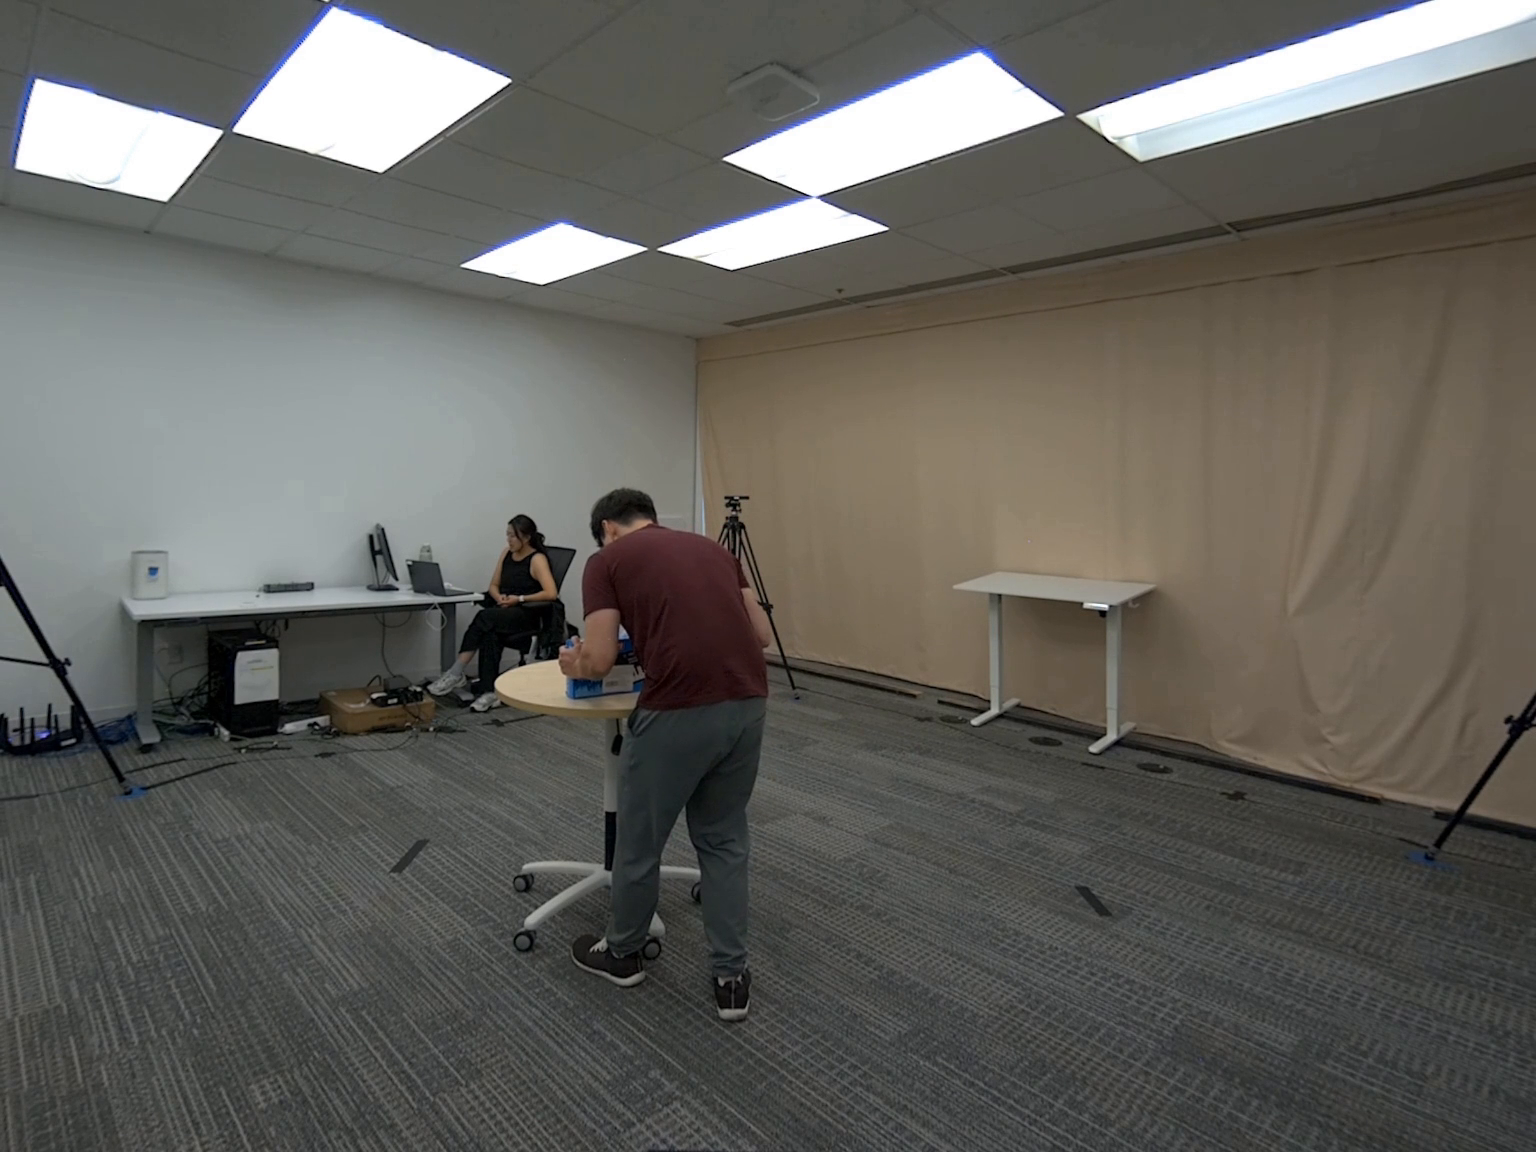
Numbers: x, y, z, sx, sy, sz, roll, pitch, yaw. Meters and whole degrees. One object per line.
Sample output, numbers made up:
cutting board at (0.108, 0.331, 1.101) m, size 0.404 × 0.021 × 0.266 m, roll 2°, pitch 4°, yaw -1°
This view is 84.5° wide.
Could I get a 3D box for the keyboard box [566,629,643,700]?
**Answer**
keyboard box at (-0.413, 0.280, 2.633) m, size 0.428 × 0.175 × 0.060 m, roll -2°, pitch 4°, yaw -33°
